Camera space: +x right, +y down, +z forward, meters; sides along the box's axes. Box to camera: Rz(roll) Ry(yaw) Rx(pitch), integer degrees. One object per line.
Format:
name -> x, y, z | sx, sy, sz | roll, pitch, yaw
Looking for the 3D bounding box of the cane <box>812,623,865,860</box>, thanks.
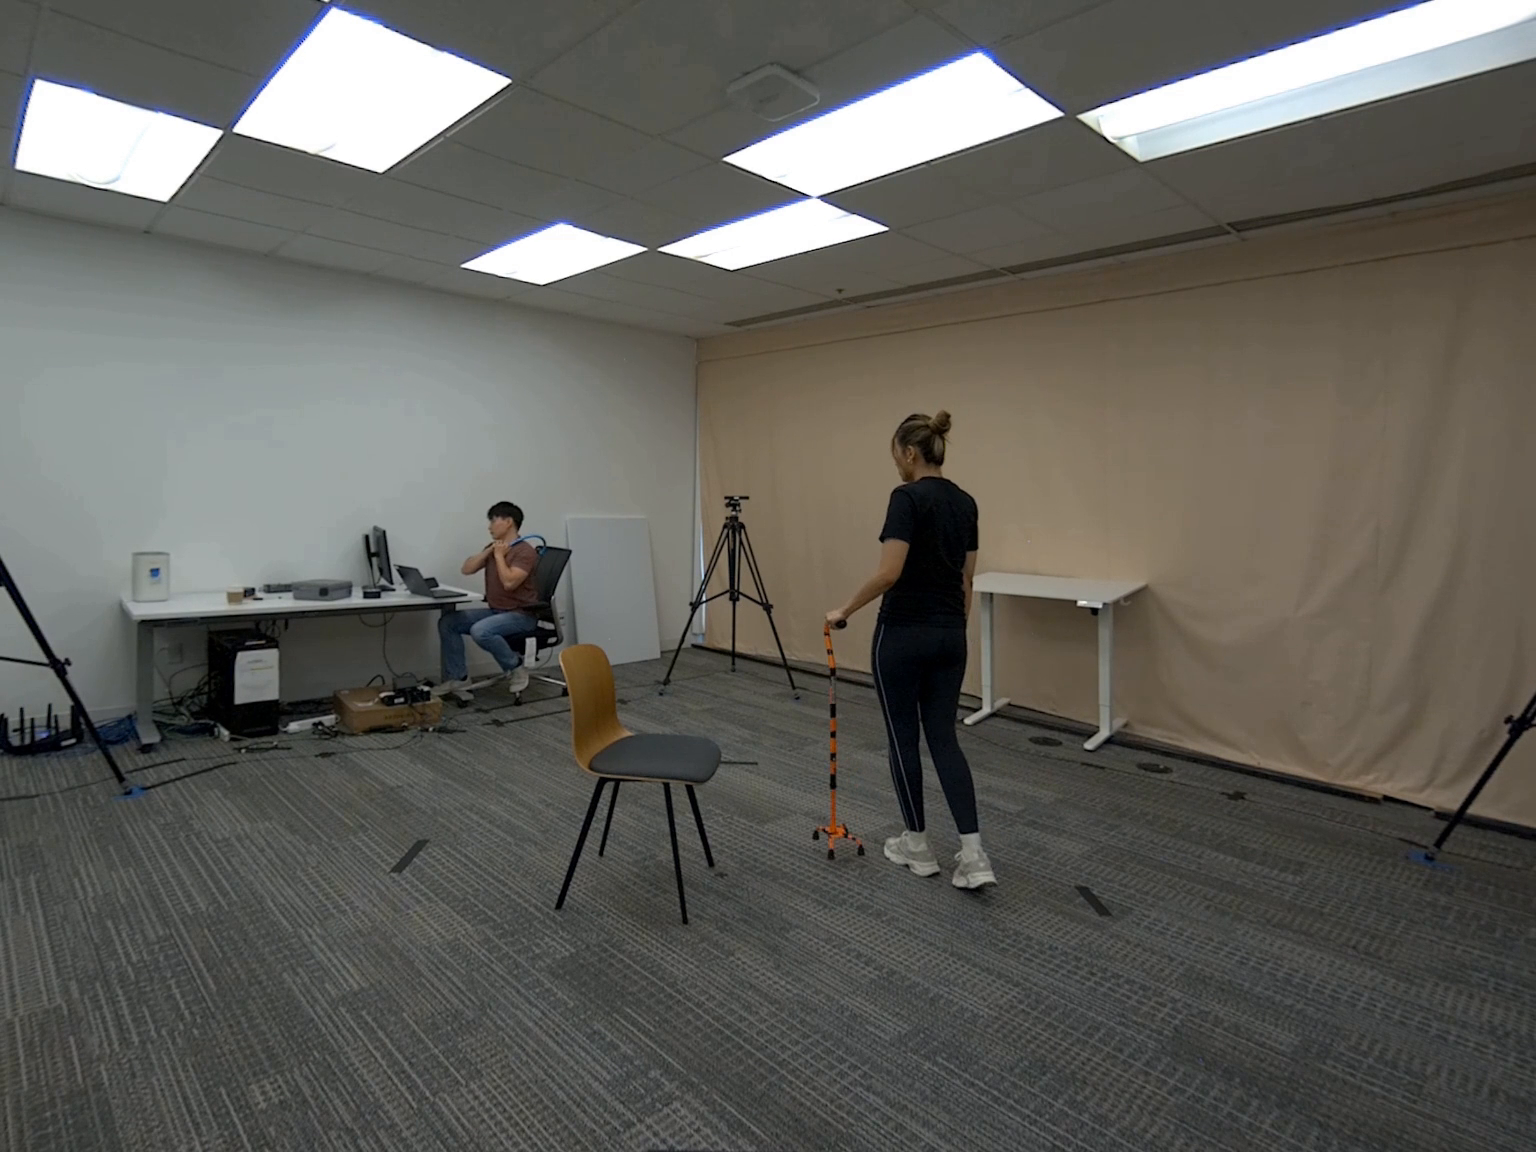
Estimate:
cane -> 0.254, 0.609, 3.244 | 0.150, 0.904, 0.210 | -3, 6, -16
